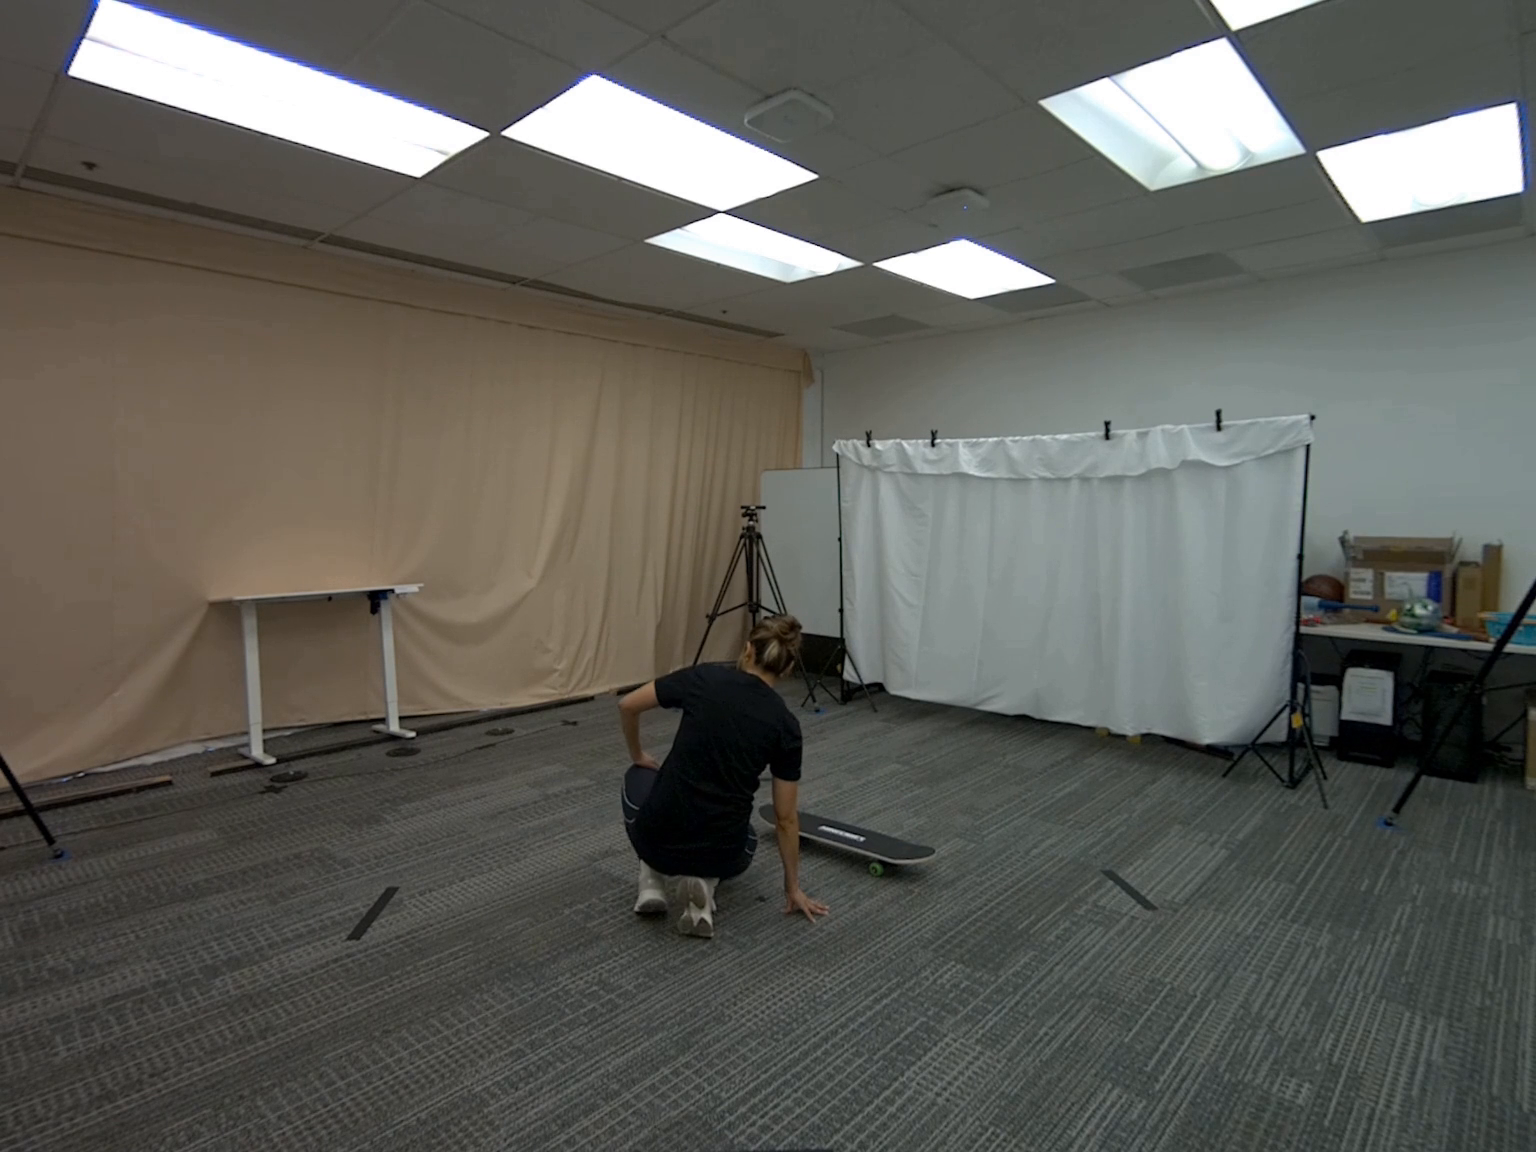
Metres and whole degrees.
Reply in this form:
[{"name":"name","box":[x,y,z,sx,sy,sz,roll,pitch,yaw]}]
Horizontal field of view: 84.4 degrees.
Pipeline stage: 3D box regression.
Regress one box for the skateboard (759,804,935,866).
[{"name":"skateboard","box":[0.298,1.050,3.346,0.811,0.110,0.188,4,6,38]}]
